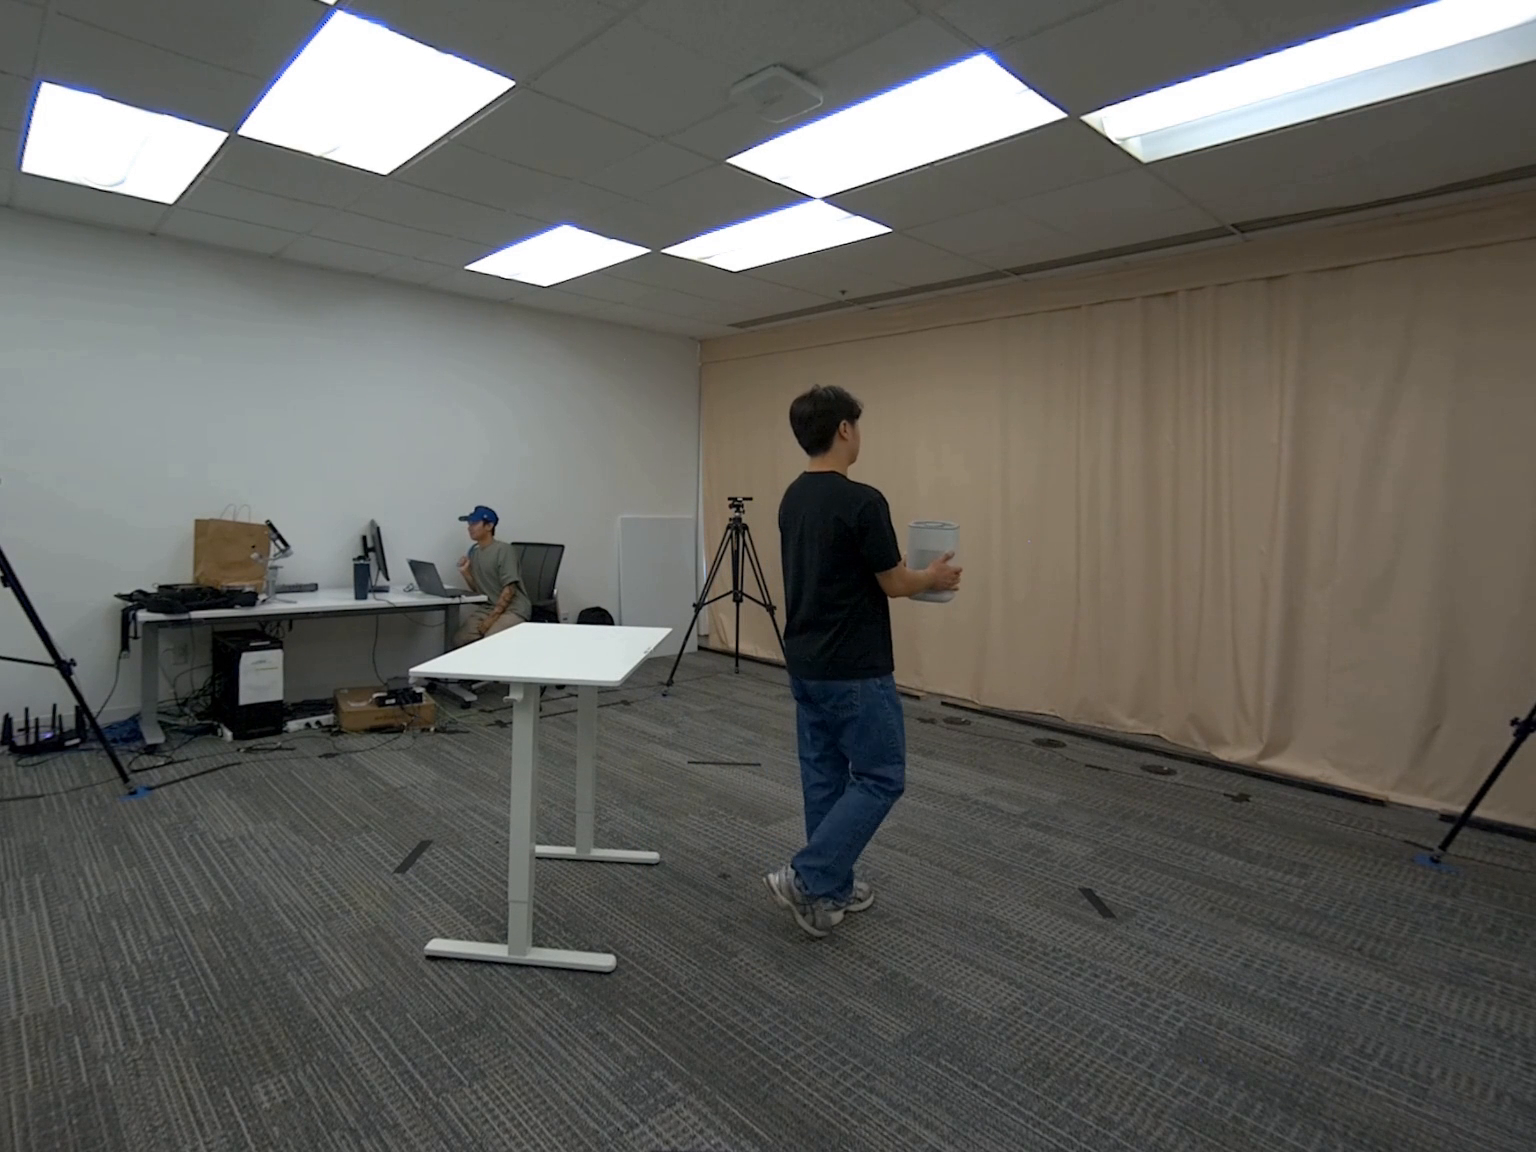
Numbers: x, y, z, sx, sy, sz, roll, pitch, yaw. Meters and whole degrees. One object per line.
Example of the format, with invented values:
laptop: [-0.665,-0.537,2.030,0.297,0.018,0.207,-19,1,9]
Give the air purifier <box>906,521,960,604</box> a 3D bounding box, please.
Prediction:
air purifier: [0.566,-0.051,2.937,0.174,0.264,0.169,4,9,17]
